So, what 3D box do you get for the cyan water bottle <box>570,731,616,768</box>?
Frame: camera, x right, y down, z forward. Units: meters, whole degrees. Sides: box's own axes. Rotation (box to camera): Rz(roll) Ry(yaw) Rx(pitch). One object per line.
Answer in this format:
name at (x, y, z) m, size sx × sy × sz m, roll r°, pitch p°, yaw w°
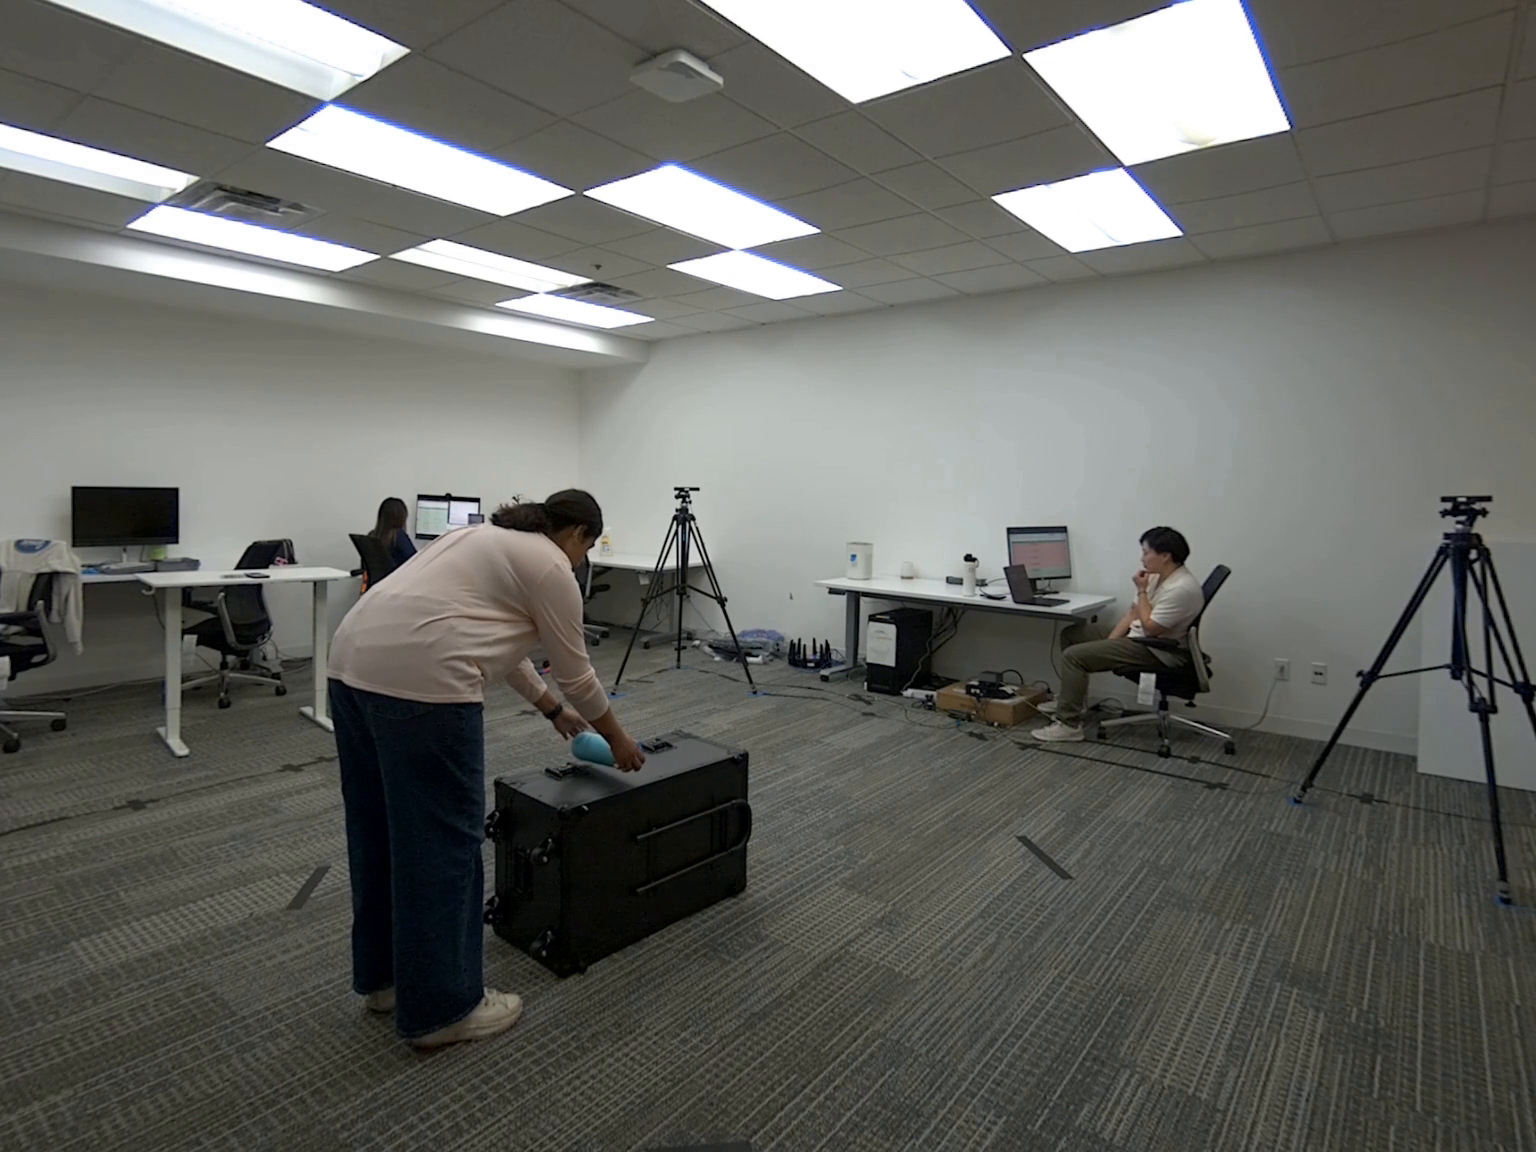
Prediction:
cyan water bottle at (-0.513, 0.550, 2.686) m, size 0.292 × 0.092 × 0.089 m, roll -1°, pitch 2°, yaw 41°
